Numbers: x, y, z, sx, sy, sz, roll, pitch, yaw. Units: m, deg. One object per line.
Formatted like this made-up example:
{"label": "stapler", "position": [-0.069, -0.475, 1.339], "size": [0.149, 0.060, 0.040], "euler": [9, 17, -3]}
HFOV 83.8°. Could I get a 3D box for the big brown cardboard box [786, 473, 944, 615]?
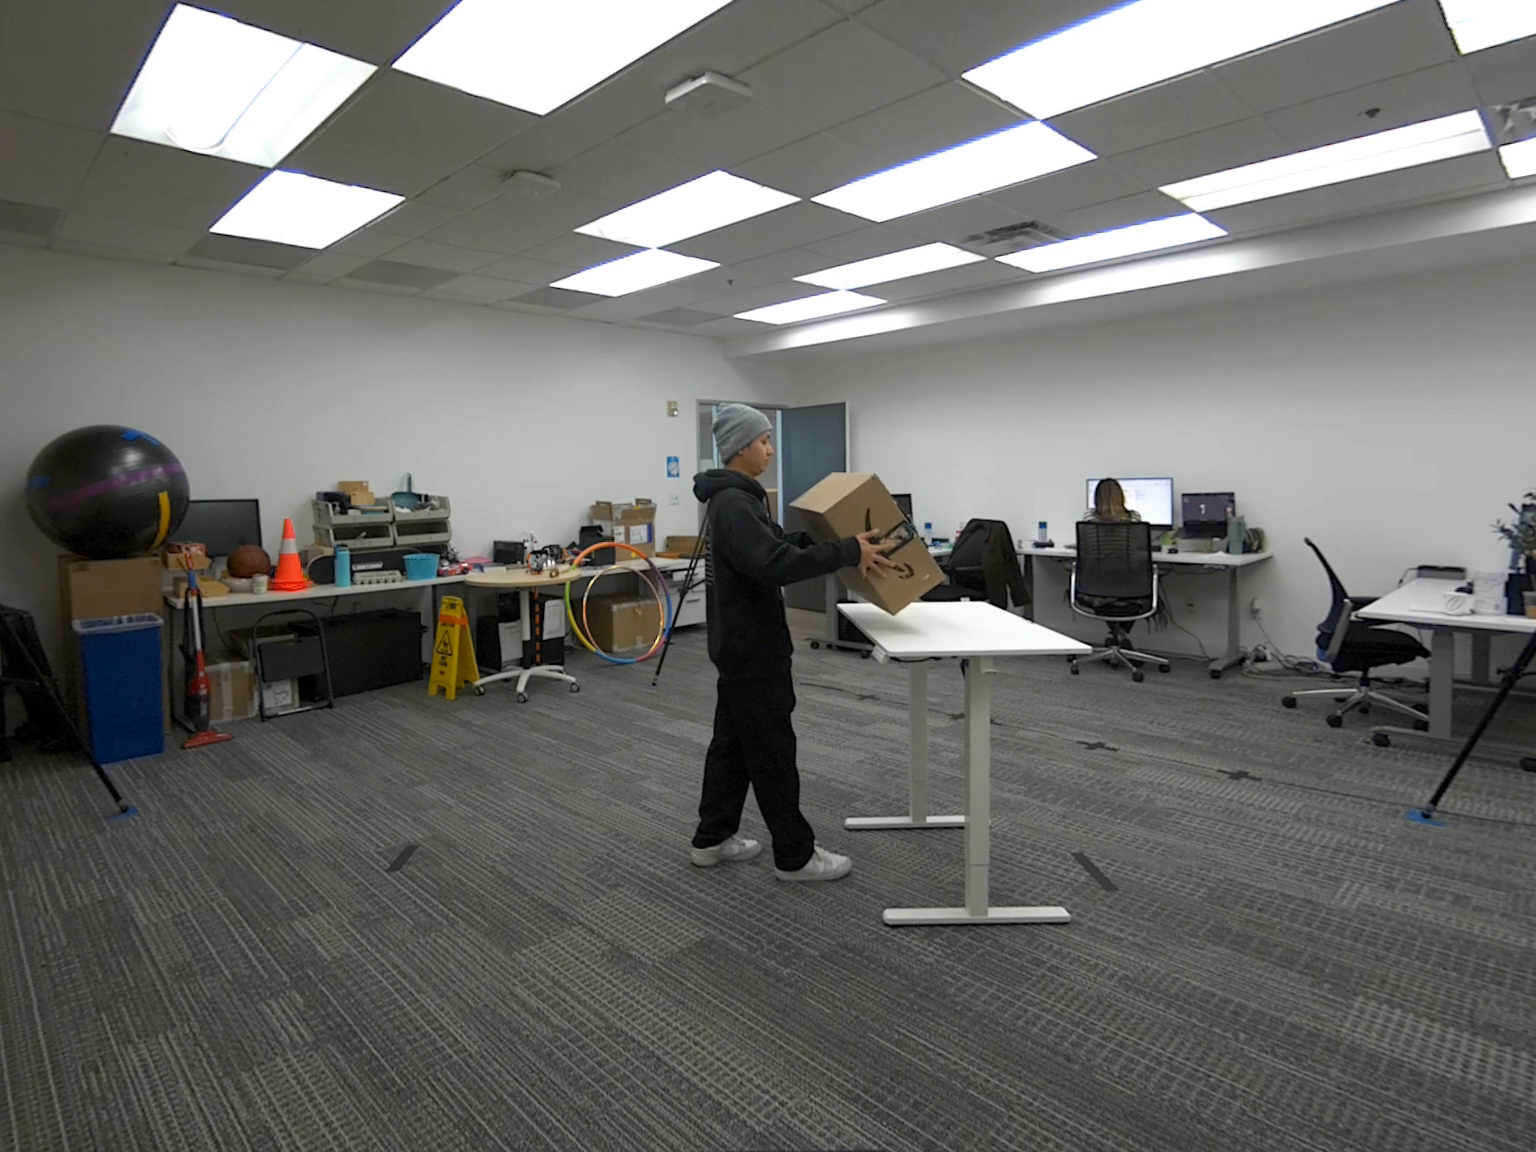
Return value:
{"label": "big brown cardboard box", "position": [0.328, -0.132, 3.007], "size": [0.233, 0.413, 0.597], "euler": [-36, 10, -4]}
